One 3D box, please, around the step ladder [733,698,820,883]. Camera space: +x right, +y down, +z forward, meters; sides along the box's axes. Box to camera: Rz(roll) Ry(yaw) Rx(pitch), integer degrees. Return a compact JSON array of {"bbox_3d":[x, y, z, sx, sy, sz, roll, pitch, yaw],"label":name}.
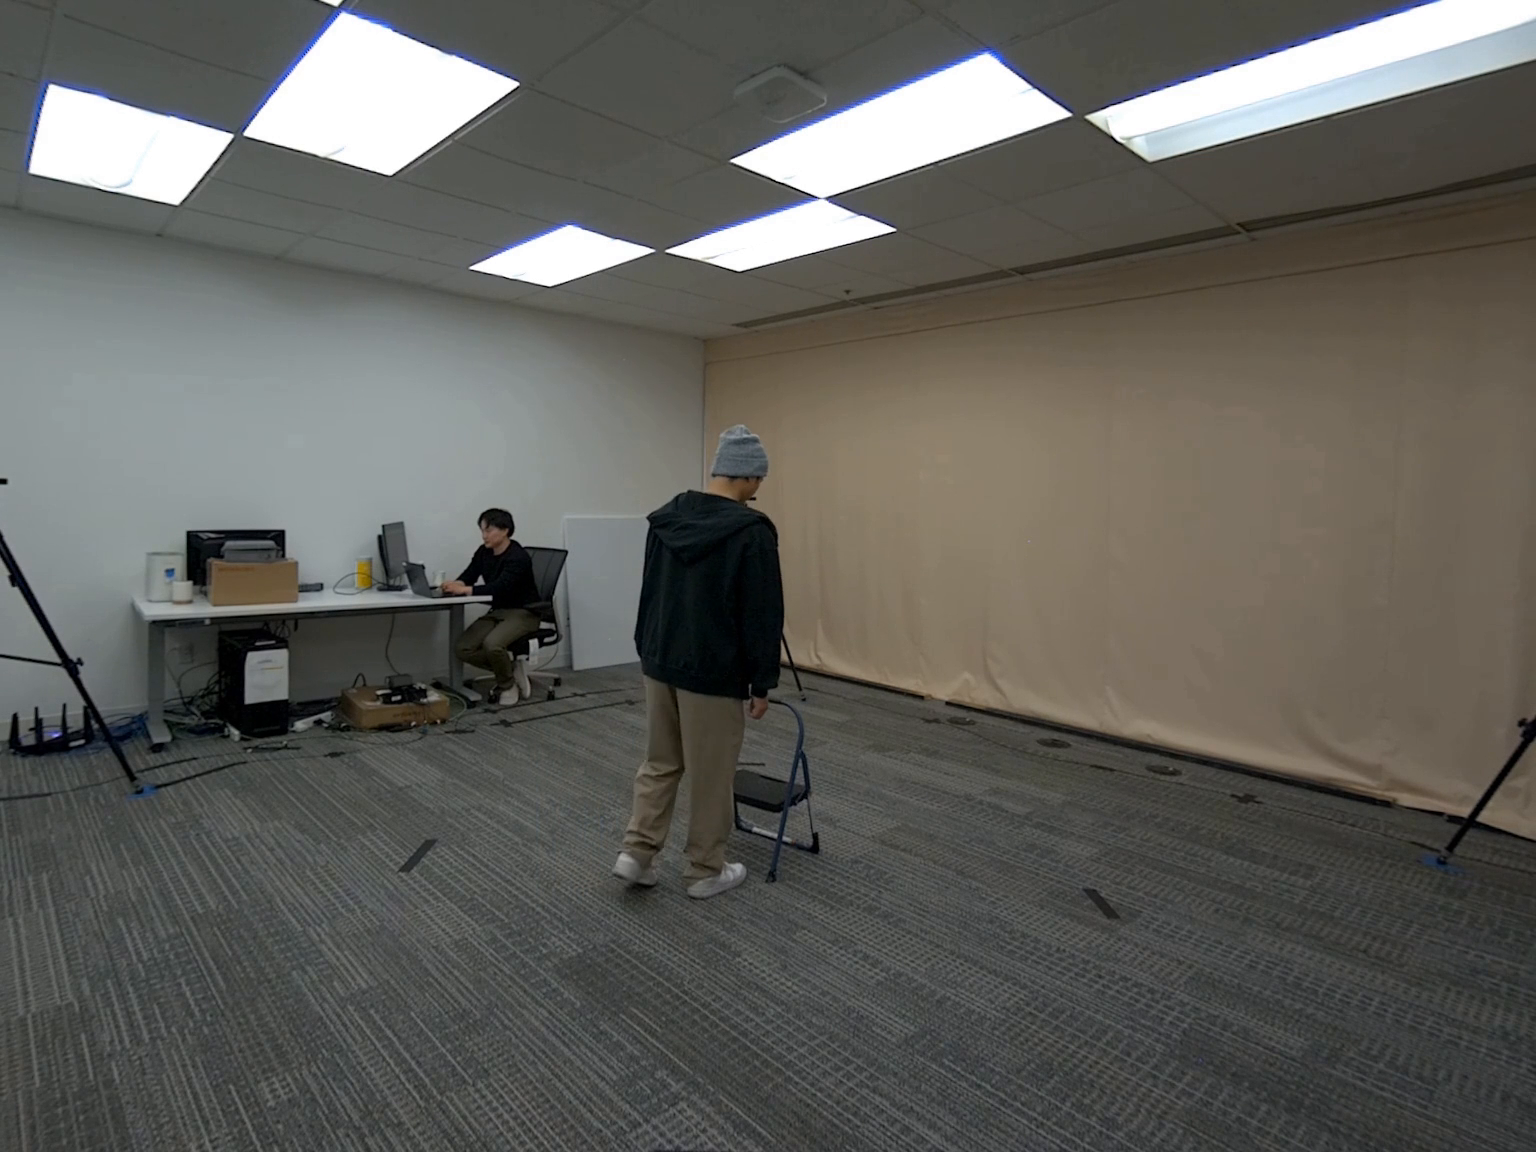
[{"bbox_3d":[-0.055,0.789,3.307,0.441,0.604,0.342,4,4,37],"label":"step ladder"}]
